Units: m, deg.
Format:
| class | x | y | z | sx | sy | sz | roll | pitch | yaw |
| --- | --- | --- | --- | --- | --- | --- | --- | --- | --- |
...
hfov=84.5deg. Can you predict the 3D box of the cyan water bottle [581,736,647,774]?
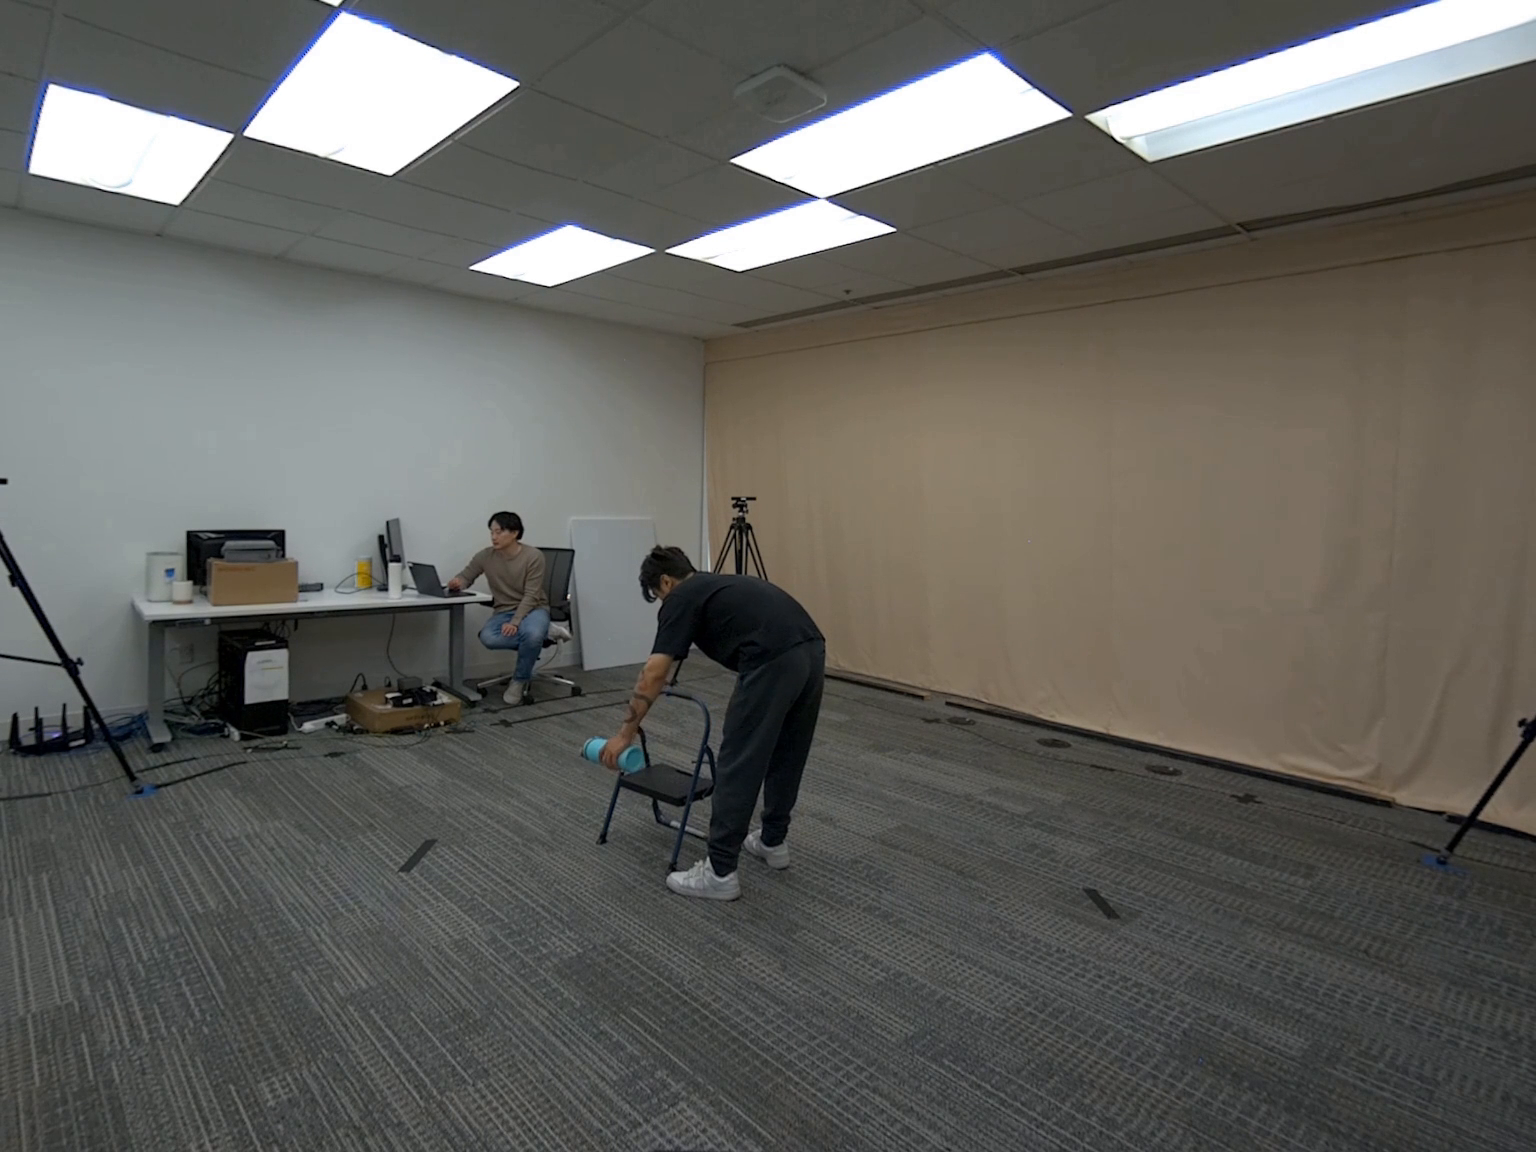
| class | x | y | z | sx | sy | sz | roll | pitch | yaw |
| --- | --- | --- | --- | --- | --- | --- | --- | --- | --- |
| cyan water bottle | -0.563 | 0.636 | 3.030 | 0.290 | 0.092 | 0.090 | 0 | 2 | 42 |
